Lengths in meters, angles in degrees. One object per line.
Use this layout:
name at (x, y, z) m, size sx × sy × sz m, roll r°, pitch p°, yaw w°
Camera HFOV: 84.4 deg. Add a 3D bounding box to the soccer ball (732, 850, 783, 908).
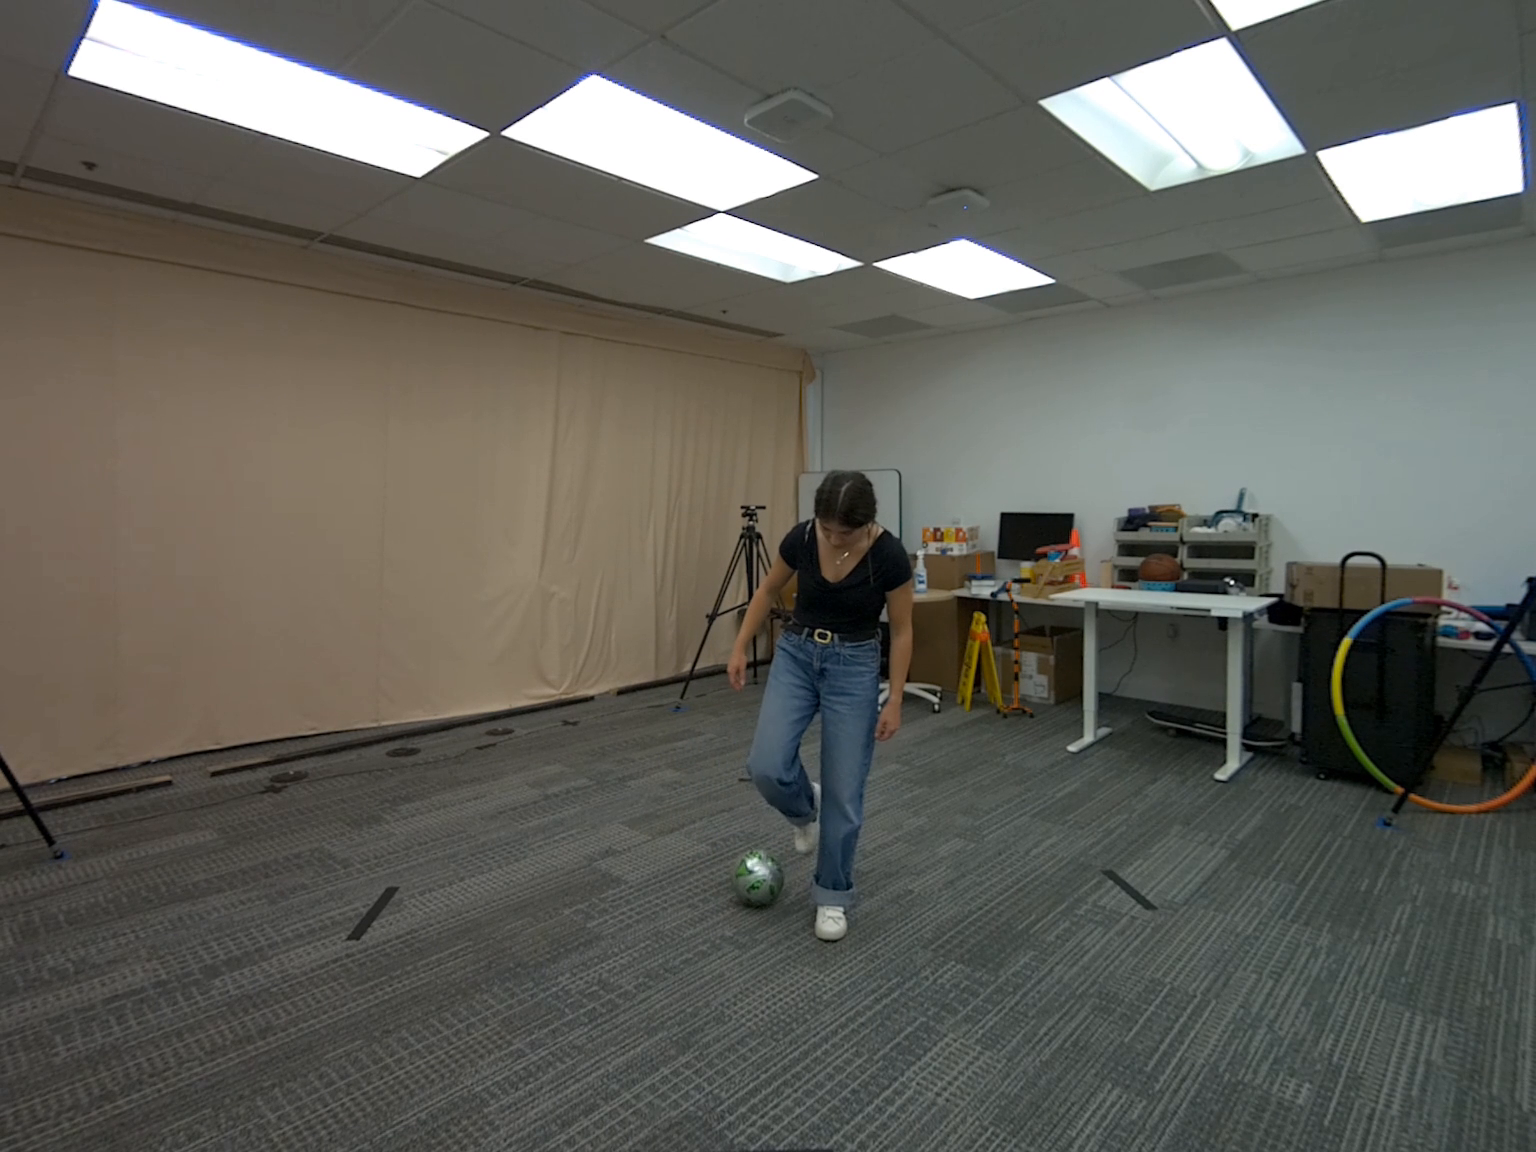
soccer ball at (-0.036, 1.061, 2.940) m, size 0.187 × 0.187 × 0.188 m, roll 0°, pitch 4°, yaw -2°
